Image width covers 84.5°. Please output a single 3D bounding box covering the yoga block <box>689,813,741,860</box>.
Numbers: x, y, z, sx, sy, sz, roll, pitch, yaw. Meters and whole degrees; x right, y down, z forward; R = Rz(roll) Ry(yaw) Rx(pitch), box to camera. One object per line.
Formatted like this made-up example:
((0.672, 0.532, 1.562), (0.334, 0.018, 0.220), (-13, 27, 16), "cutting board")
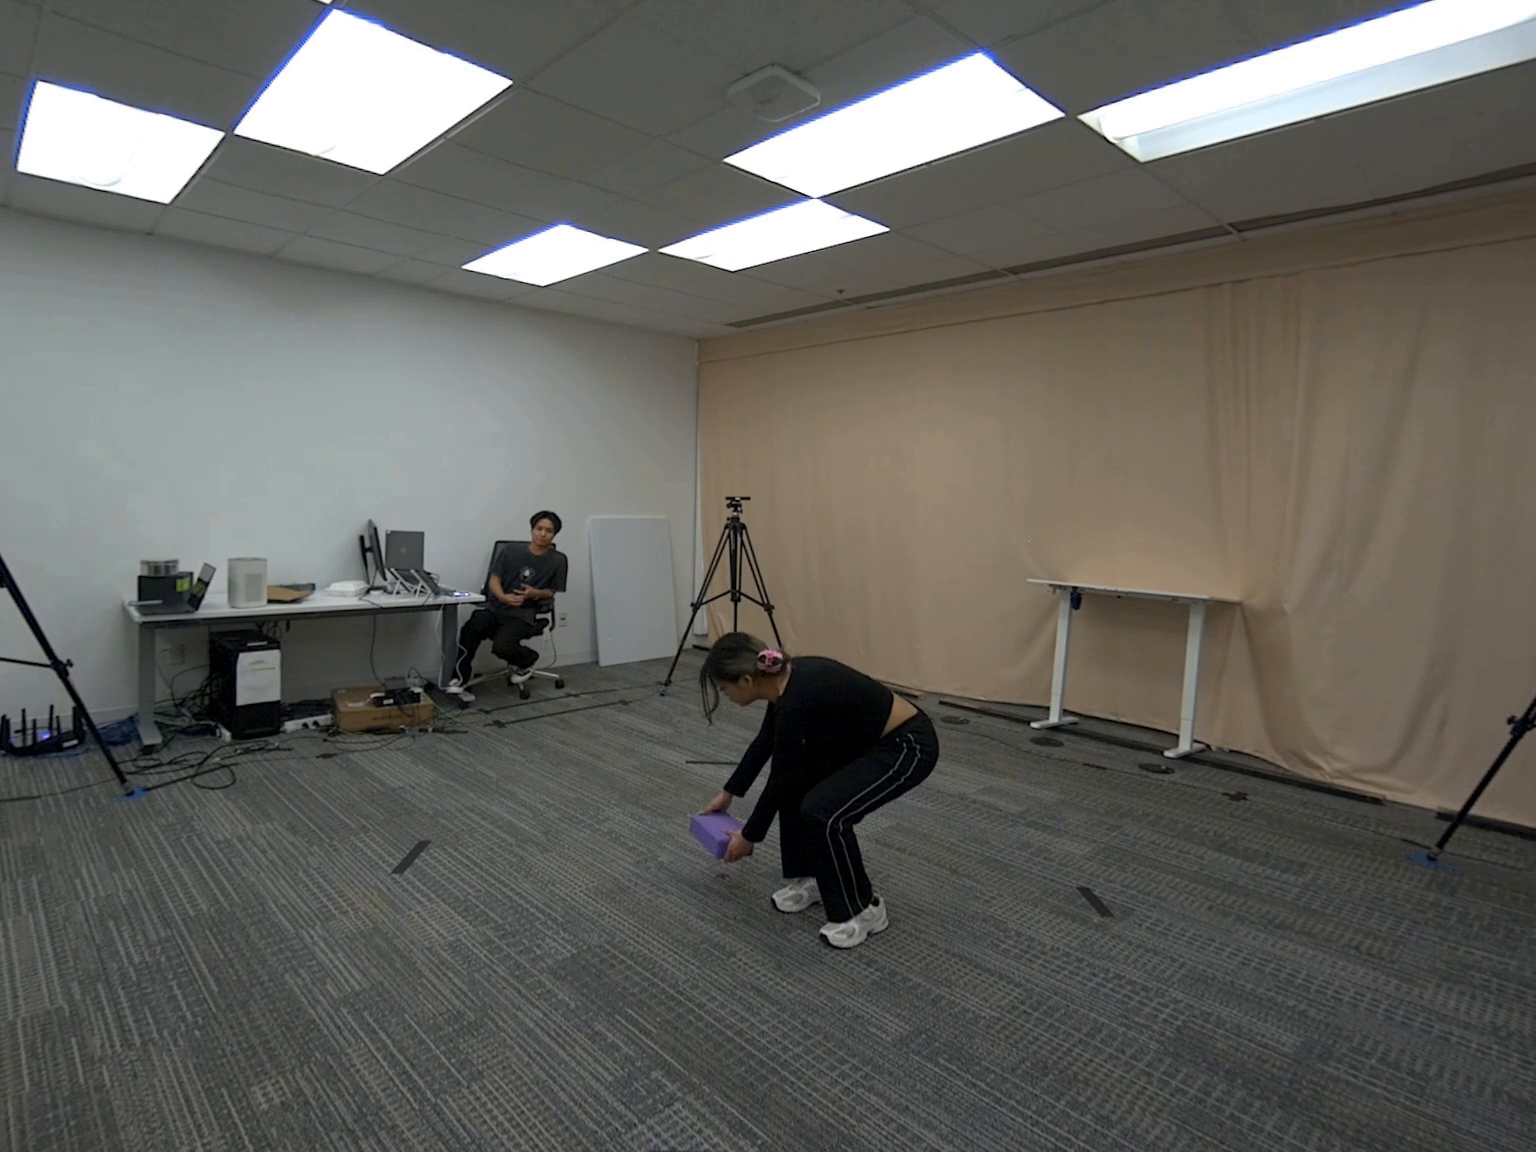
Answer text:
((-0.167, 0.921, 3.003), (0.146, 0.076, 0.235), (5, 8, -27), "yoga block")
